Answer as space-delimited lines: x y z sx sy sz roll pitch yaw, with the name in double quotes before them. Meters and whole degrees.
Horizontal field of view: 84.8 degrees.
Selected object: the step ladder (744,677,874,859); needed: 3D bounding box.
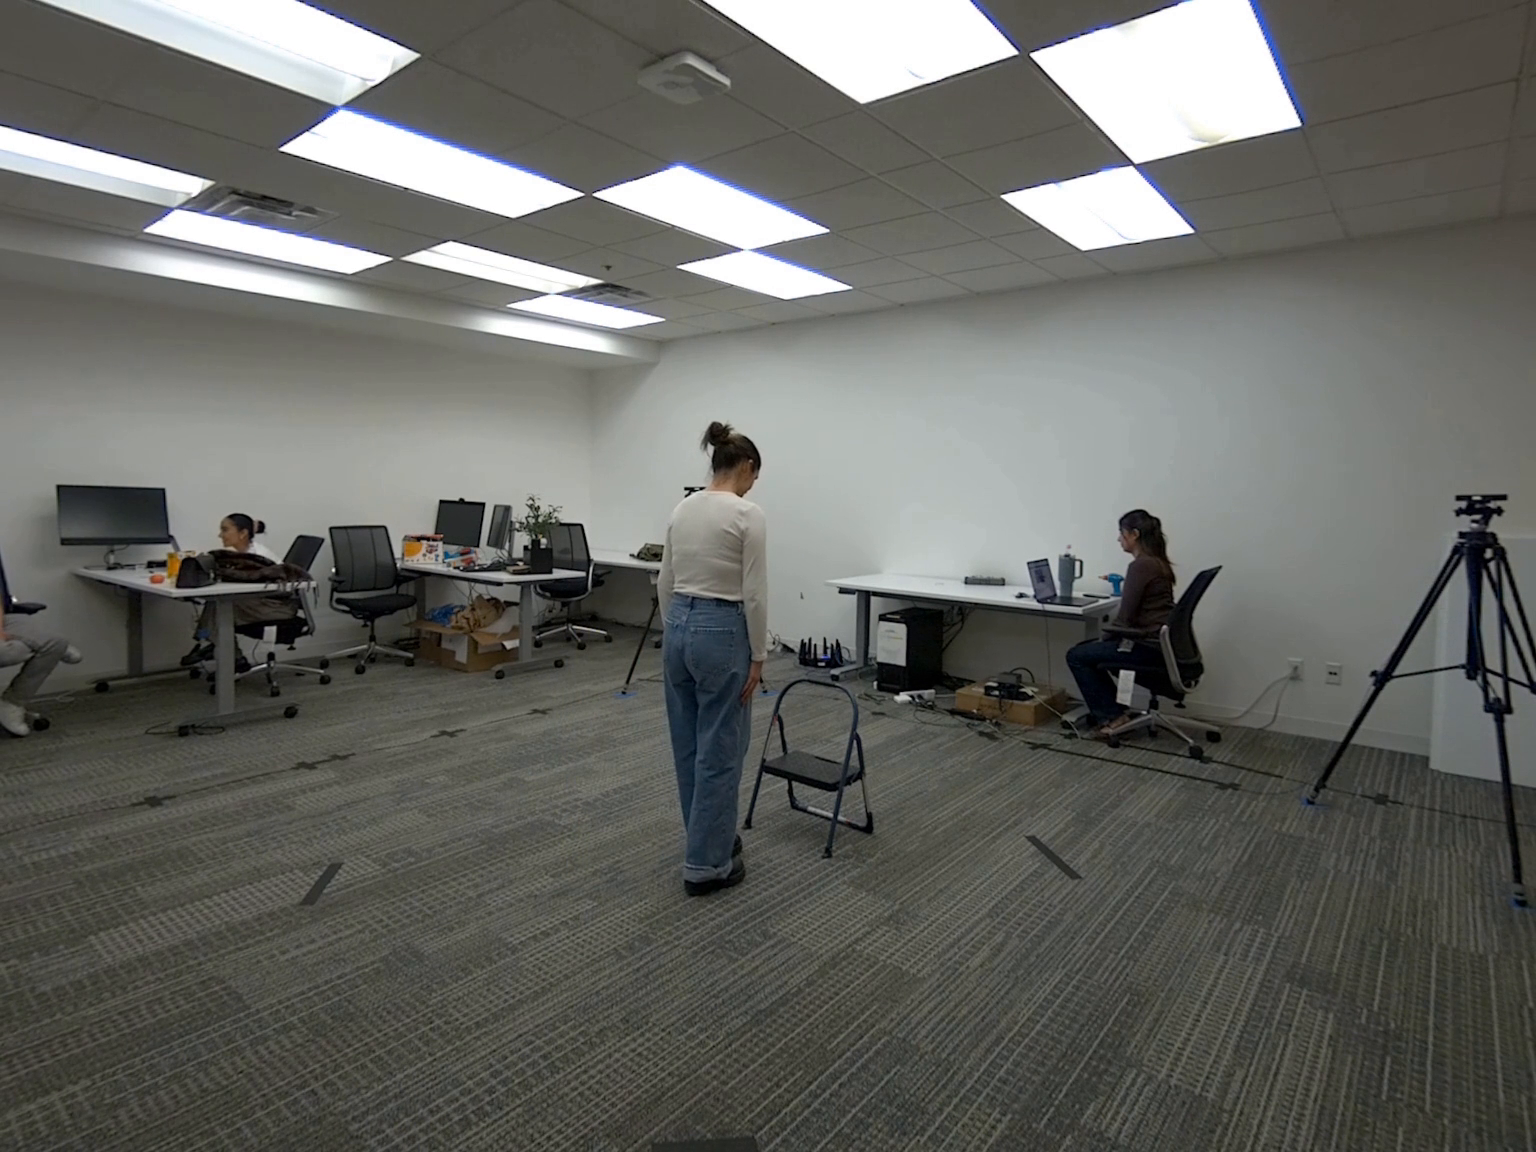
"step ladder" 0.165 0.734 3.461 0.445 0.604 0.339 4 5 39
